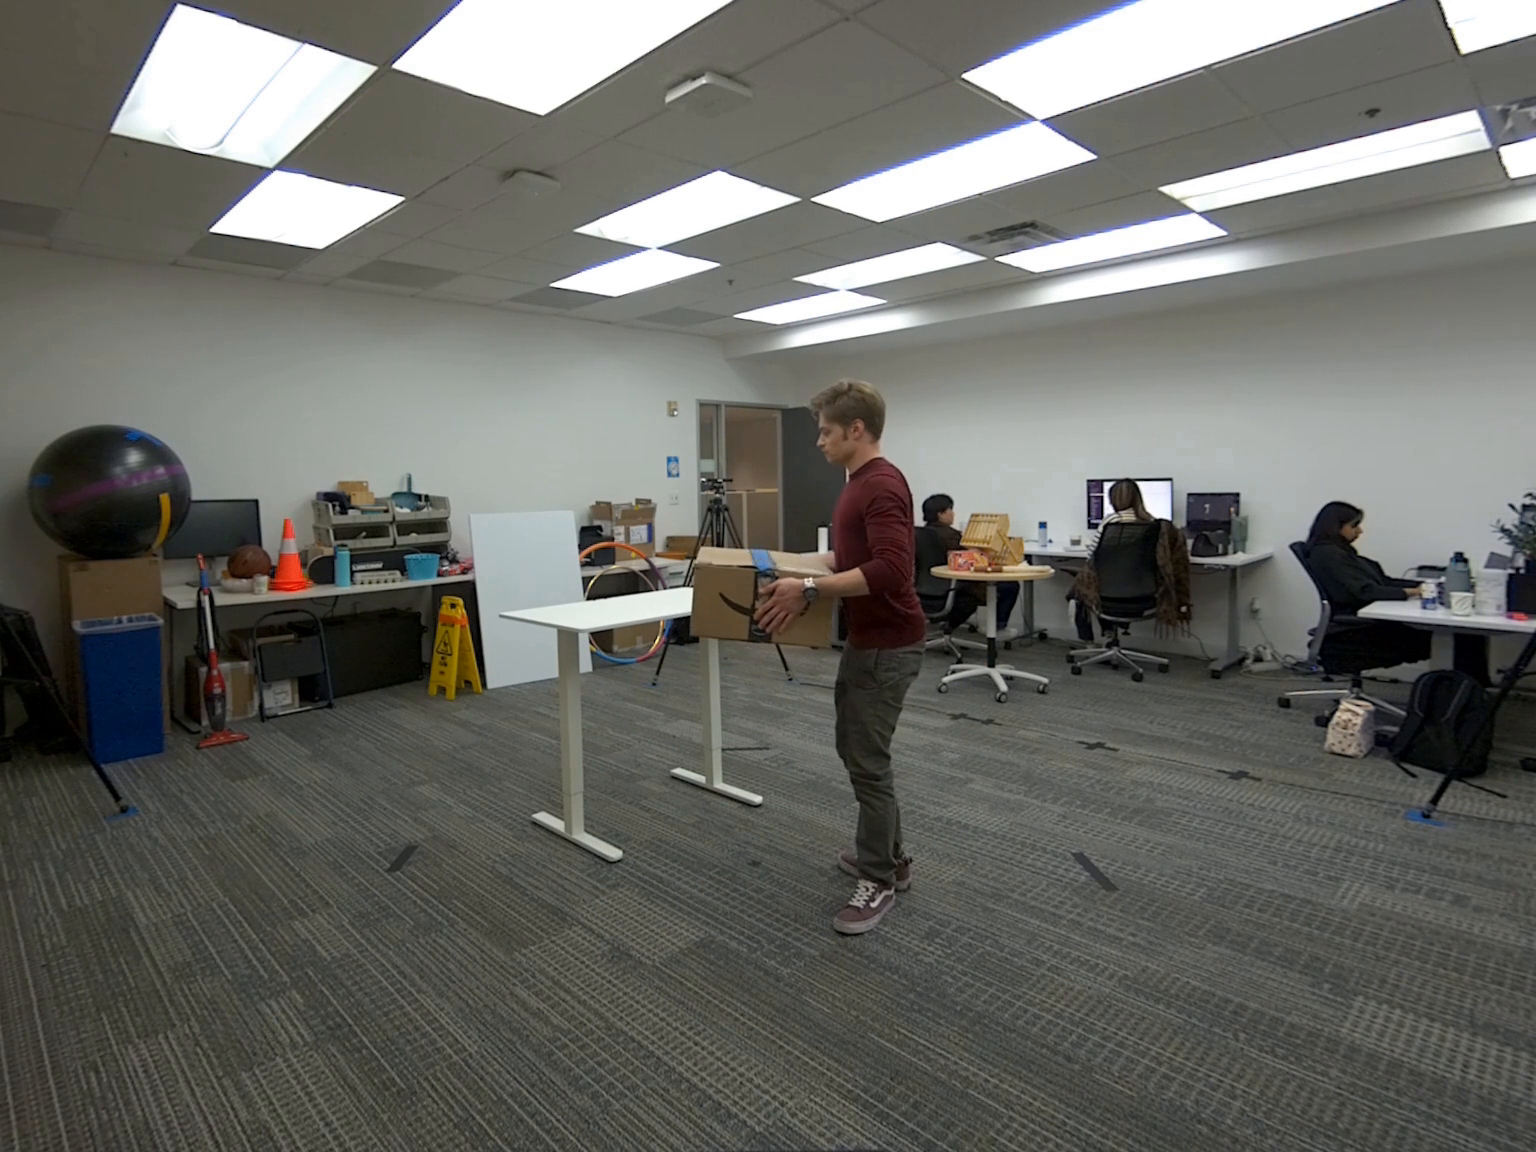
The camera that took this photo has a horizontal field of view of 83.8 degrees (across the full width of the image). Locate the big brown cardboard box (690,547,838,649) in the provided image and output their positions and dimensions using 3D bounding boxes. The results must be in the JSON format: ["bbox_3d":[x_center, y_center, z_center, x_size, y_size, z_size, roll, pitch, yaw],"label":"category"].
[{"bbox_3d":[-0.017,0.053,2.763,0.417,0.232,0.592,4,5,-3],"label":"big brown cardboard box"}]
